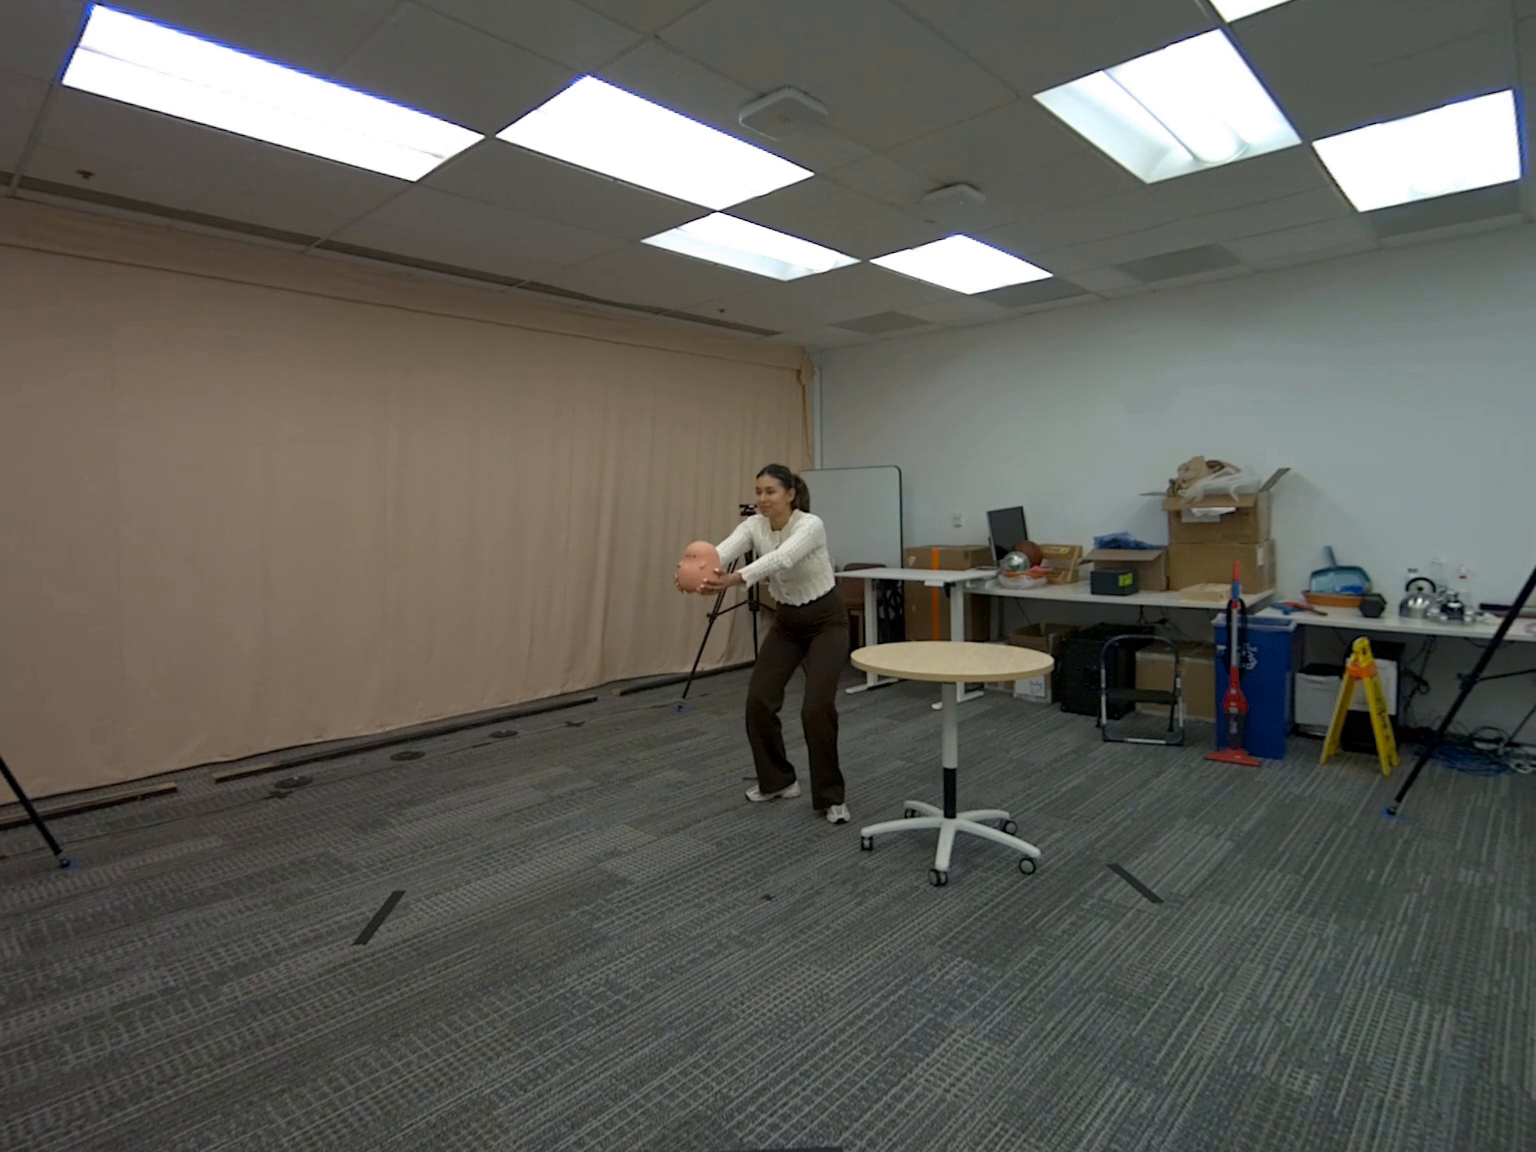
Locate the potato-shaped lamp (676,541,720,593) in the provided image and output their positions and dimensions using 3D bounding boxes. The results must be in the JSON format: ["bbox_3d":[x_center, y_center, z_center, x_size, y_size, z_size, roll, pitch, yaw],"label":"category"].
[{"bbox_3d":[-0.262,-0.035,3.304,0.170,0.198,0.166,5,2,43],"label":"potato-shaped lamp"}]
